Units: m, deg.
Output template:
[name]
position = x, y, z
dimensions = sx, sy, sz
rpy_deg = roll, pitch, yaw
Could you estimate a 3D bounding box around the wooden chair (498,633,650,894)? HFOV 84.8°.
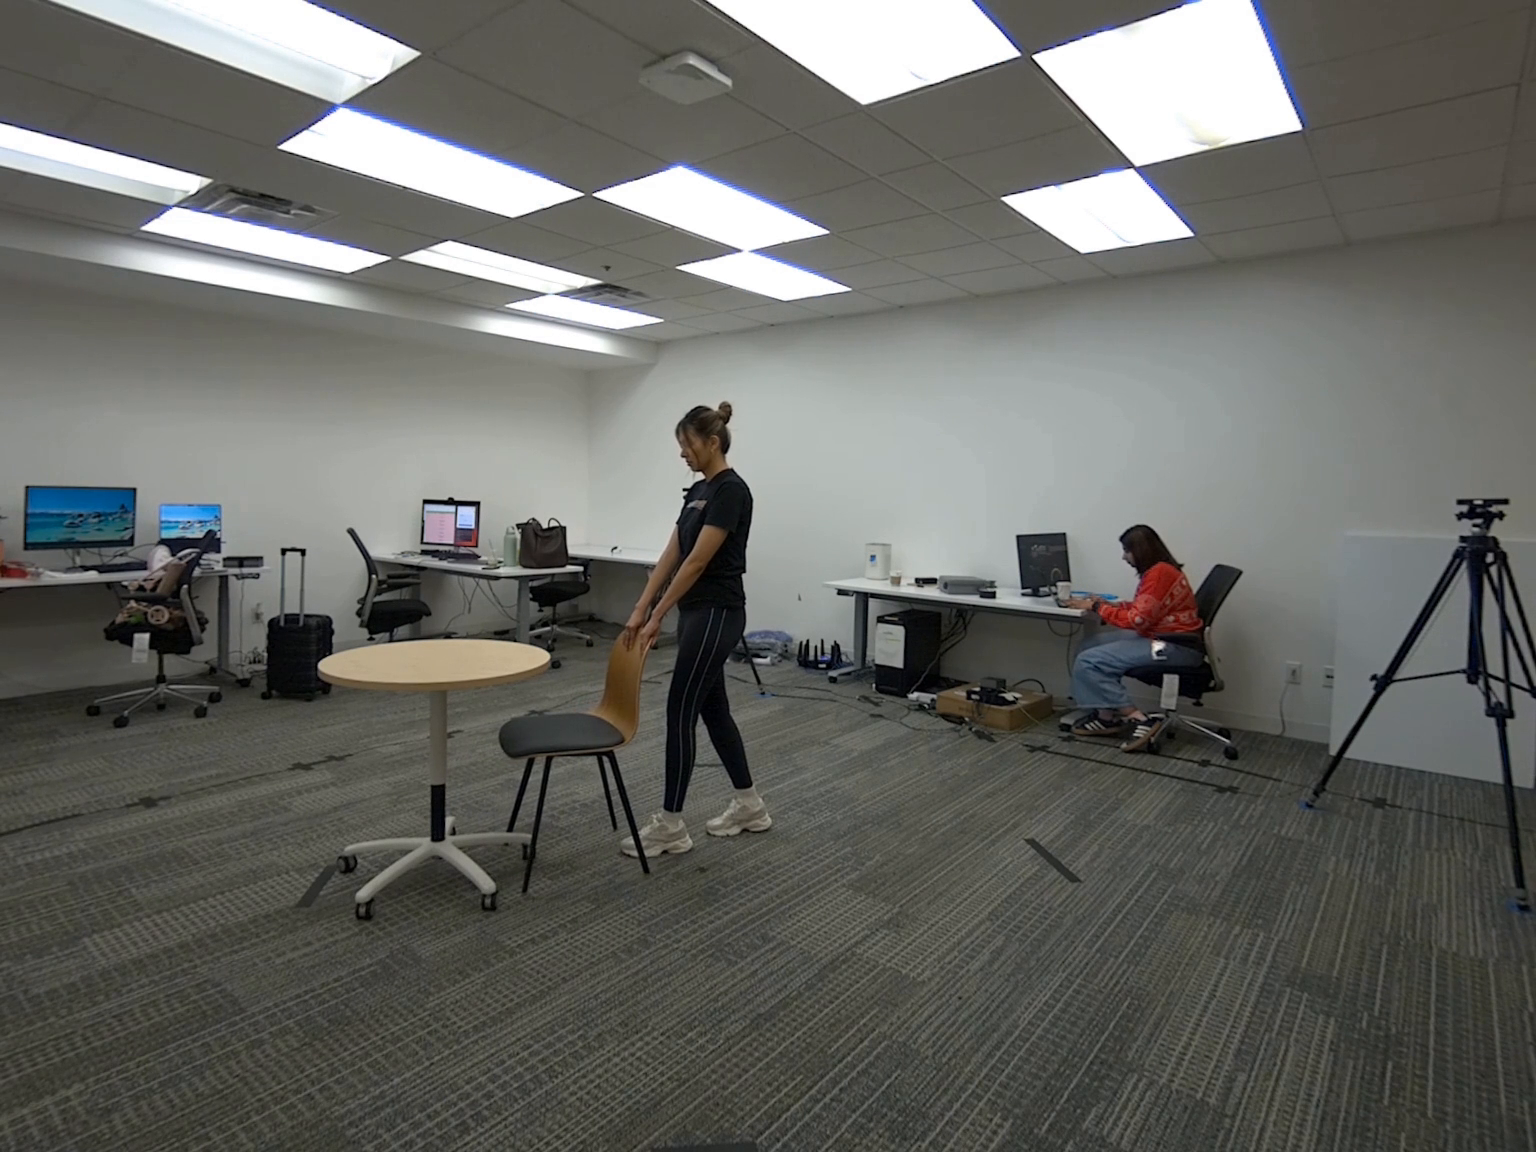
[wooden chair]
position = -0.736, 0.630, 3.155
dimensions = 0.510, 0.876, 0.490
rpy_deg = 4, 2, -24
